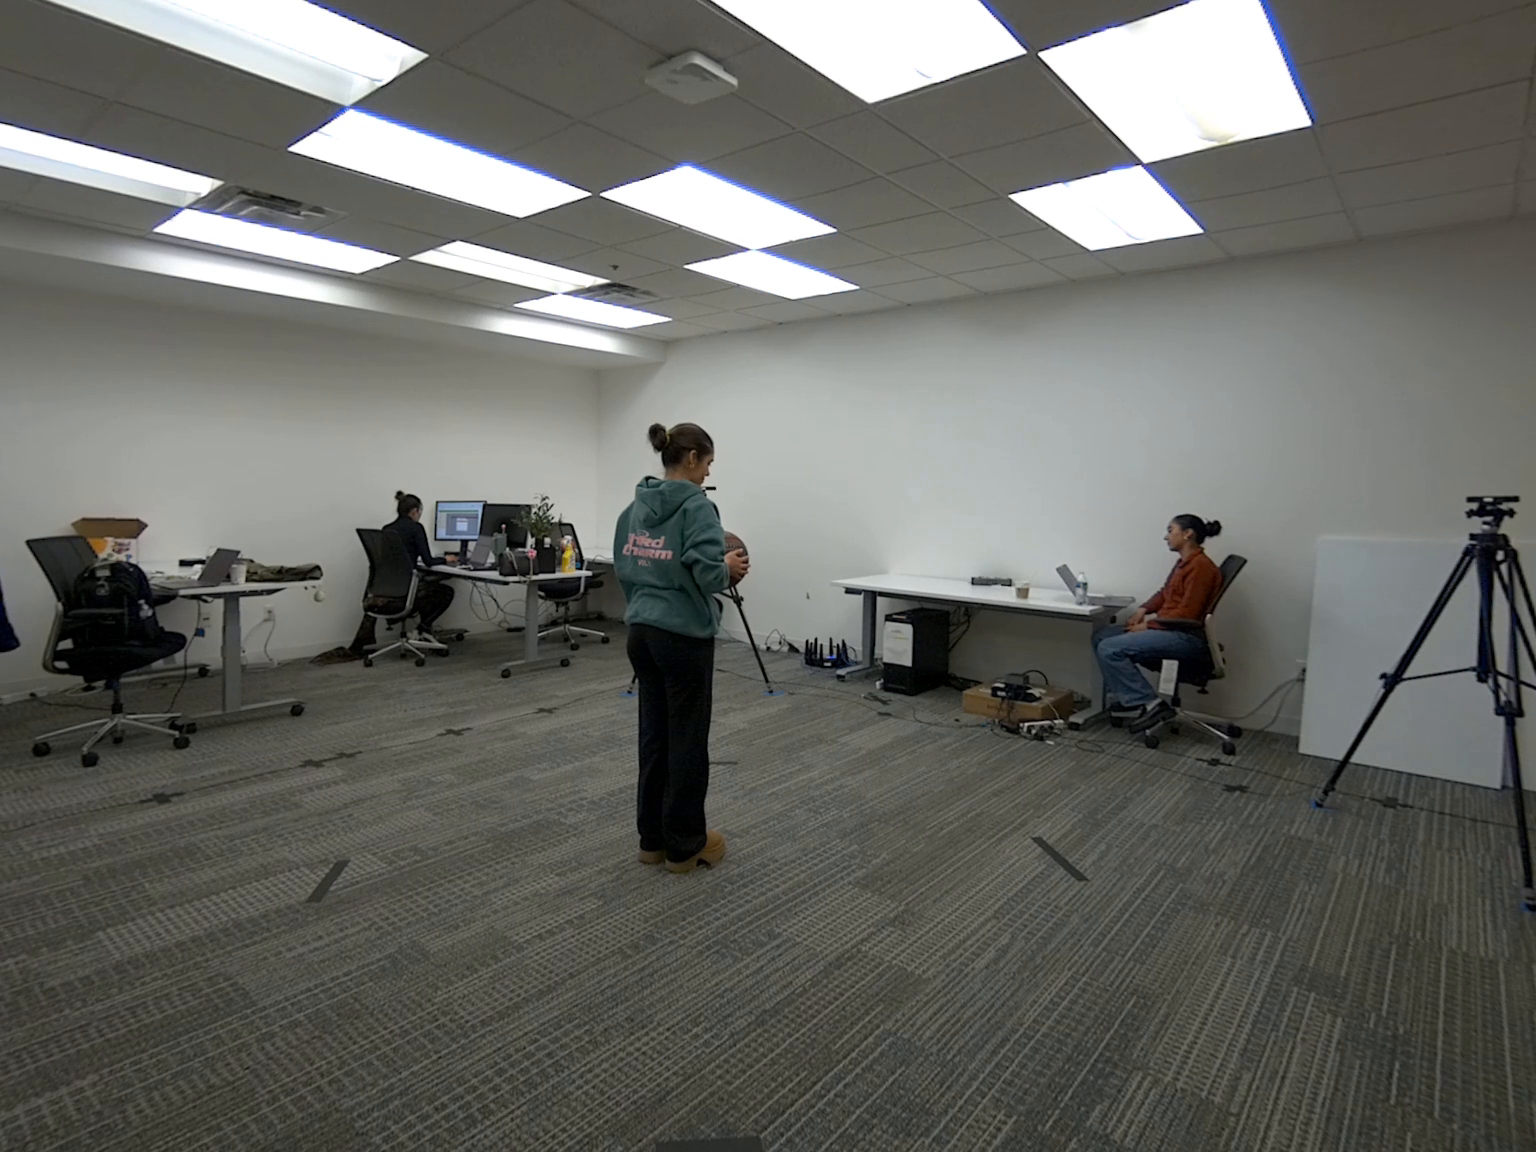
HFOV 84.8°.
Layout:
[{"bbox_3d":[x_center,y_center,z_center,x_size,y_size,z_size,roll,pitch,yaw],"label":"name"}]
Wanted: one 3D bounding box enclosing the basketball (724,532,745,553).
[{"bbox_3d":[-0.204,-0.061,3.325,0.235,0.235,0.237,1,4,-2],"label":"basketball"}]
